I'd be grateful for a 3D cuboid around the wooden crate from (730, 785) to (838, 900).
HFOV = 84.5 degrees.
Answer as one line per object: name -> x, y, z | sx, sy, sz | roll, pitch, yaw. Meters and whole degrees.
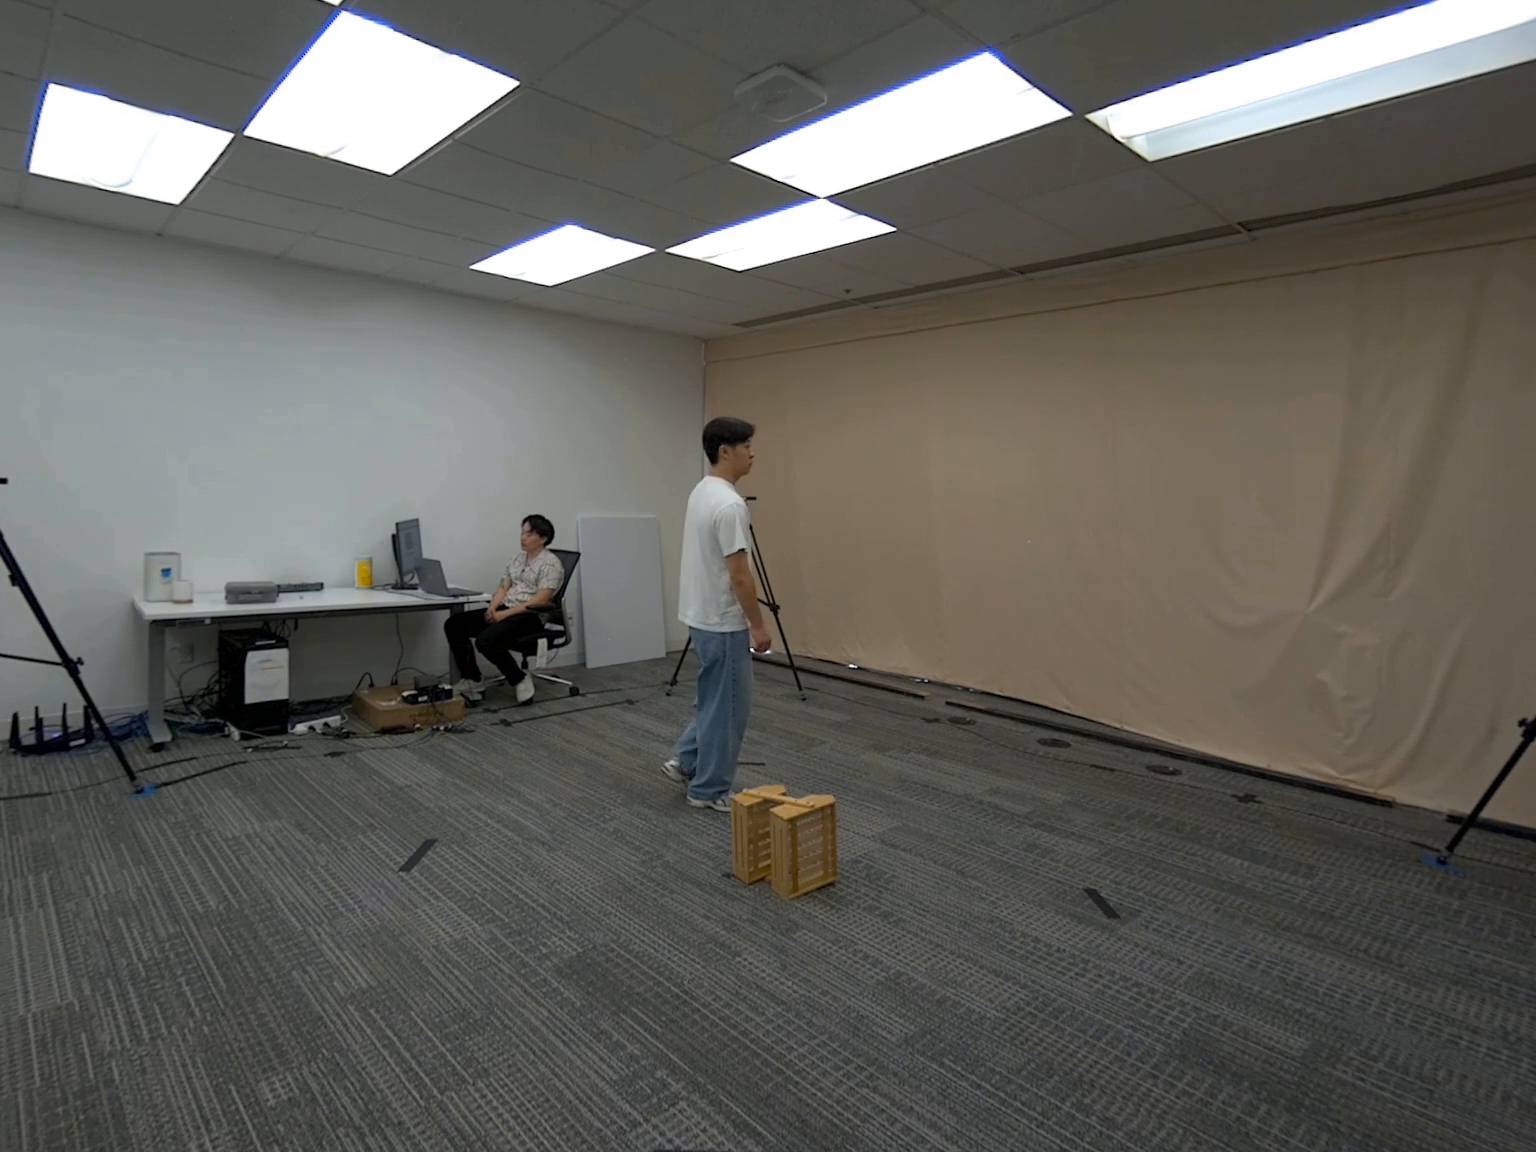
wooden crate -> 0.056, 0.946, 3.061 | 0.296, 0.322, 0.281 | -8, 13, -36
